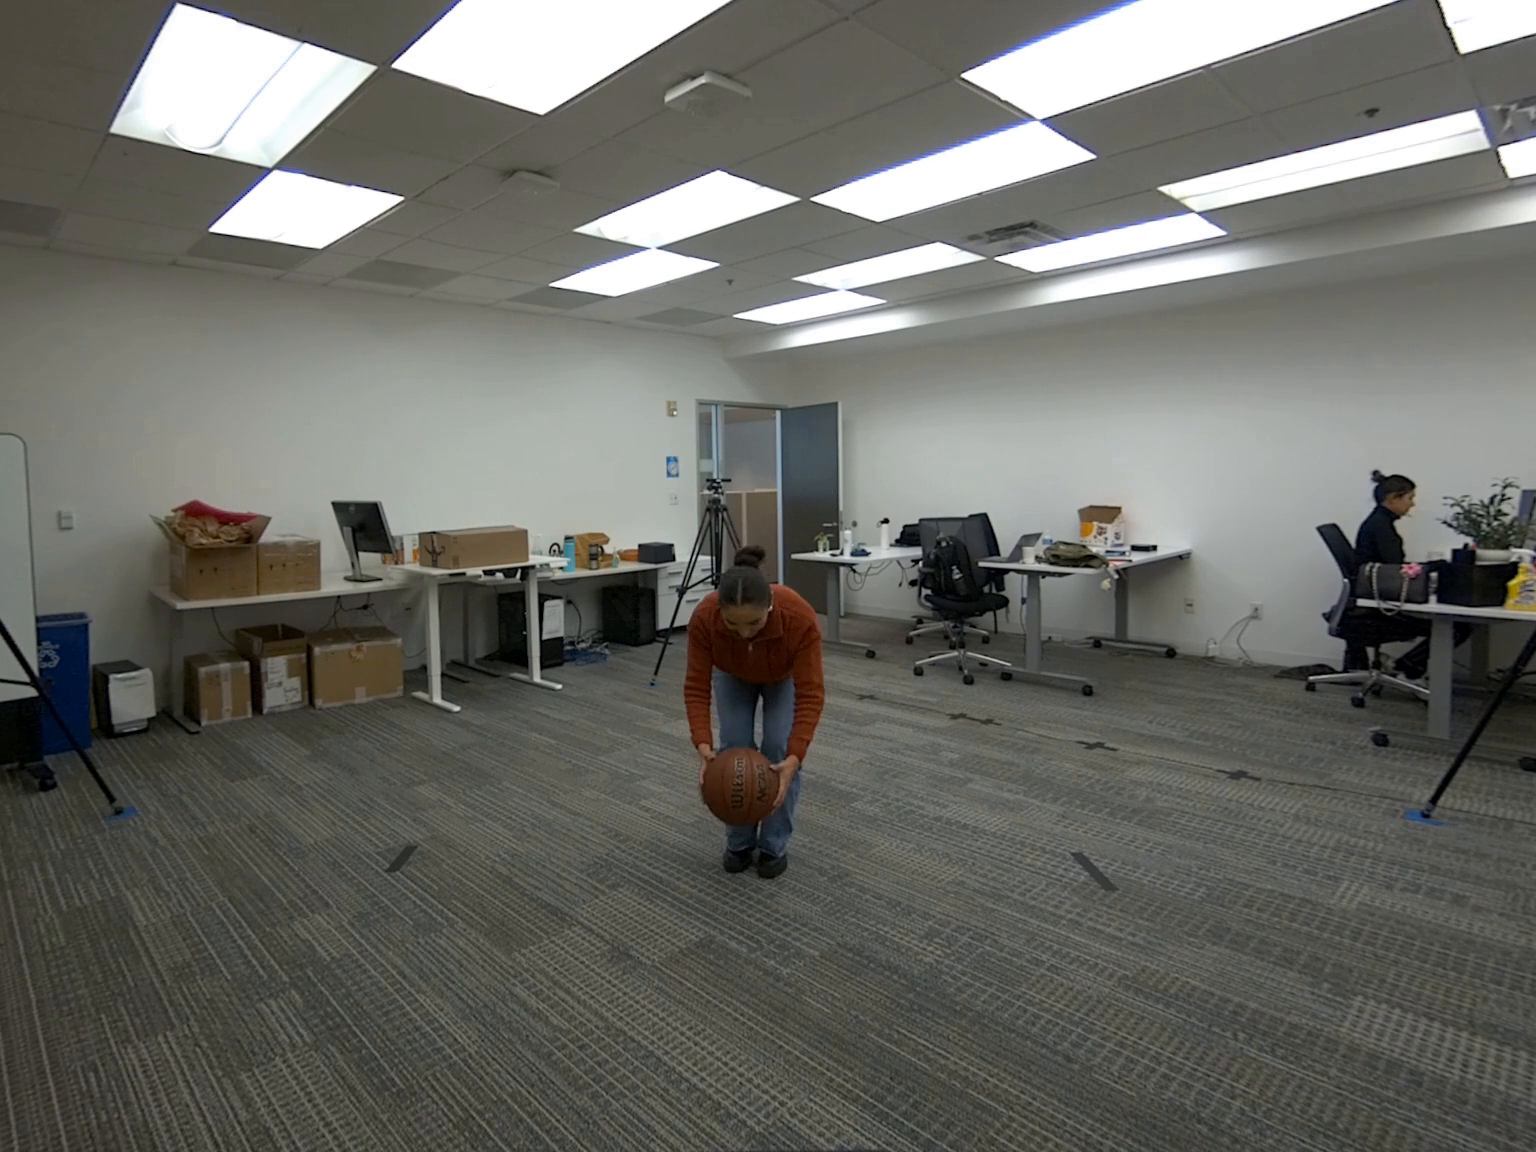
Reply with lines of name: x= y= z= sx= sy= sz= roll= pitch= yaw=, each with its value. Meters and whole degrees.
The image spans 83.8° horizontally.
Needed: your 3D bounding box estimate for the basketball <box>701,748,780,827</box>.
basketball: x=-0.085 y=0.657 z=2.646 sx=0.236 sy=0.235 sz=0.237 roll=-1 pitch=5 yaw=-2
